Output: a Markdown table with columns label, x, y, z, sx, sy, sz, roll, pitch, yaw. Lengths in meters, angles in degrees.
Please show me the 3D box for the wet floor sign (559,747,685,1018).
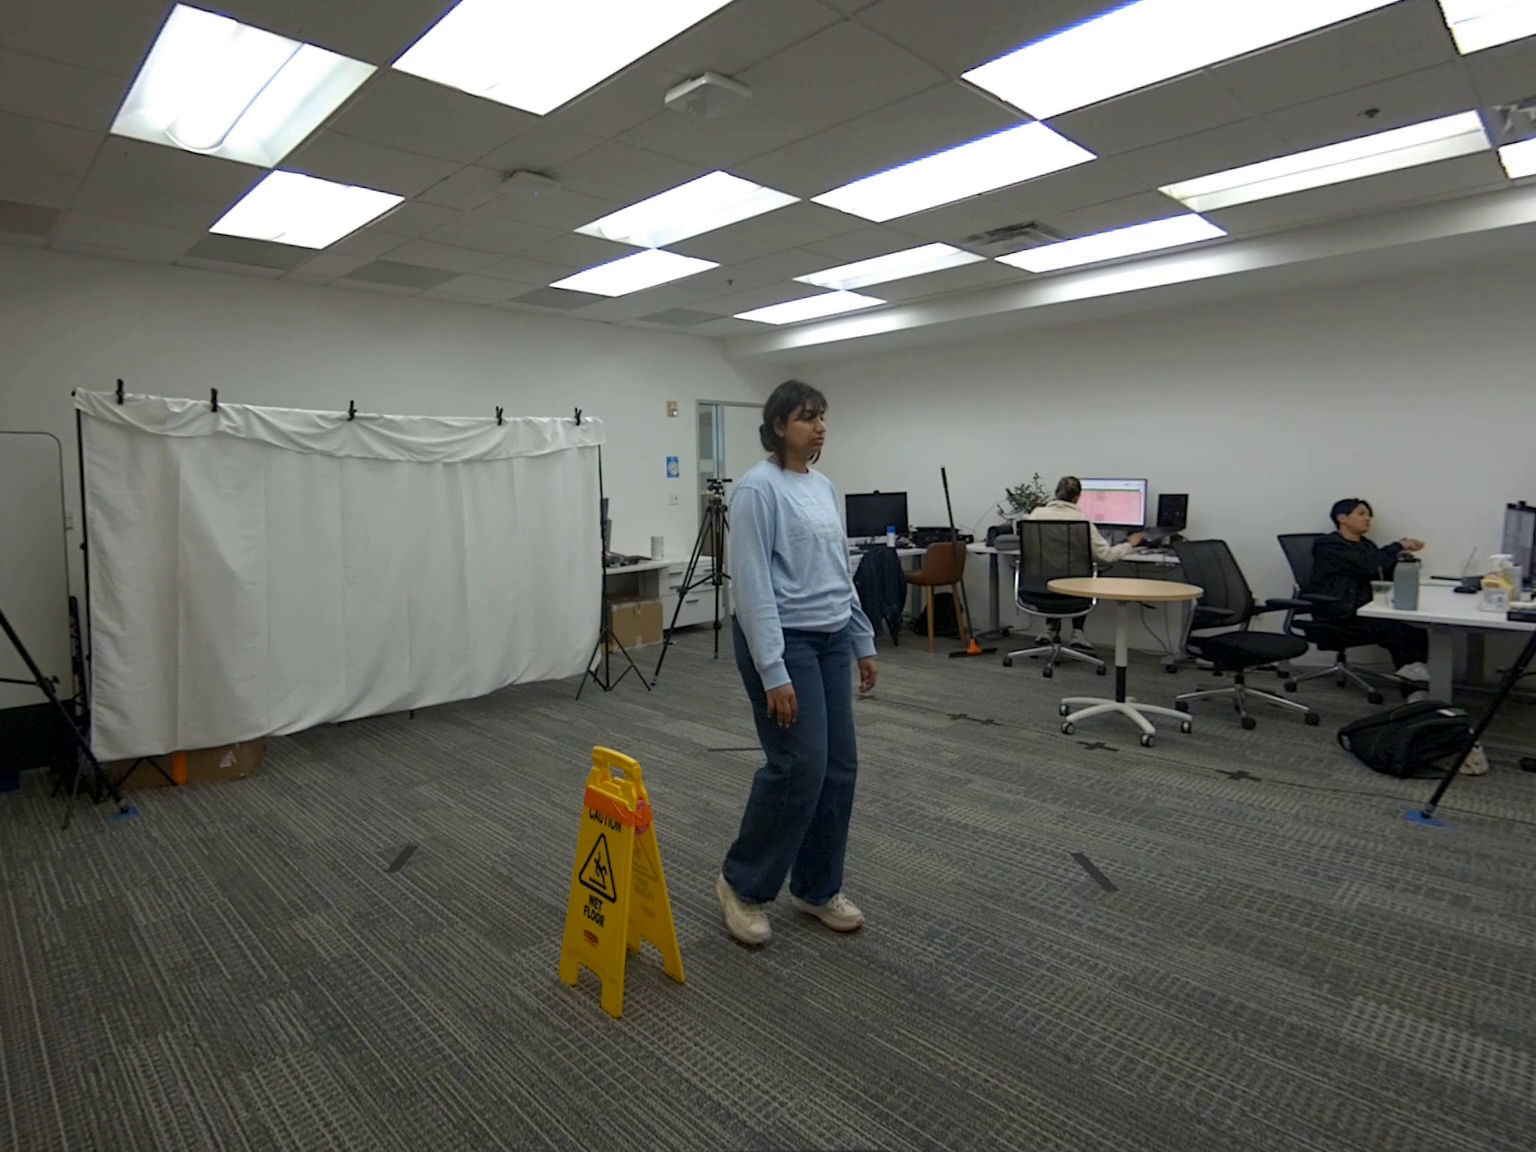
| label | x | y | z | sx | sy | sz | roll | pitch | yaw |
| --- | --- | --- | --- | --- | --- | --- | --- | --- | --- |
| wet floor sign | -0.409 | 0.813 | 2.380 | 0.282 | 0.644 | 0.291 | -5 | 6 | -43 |
